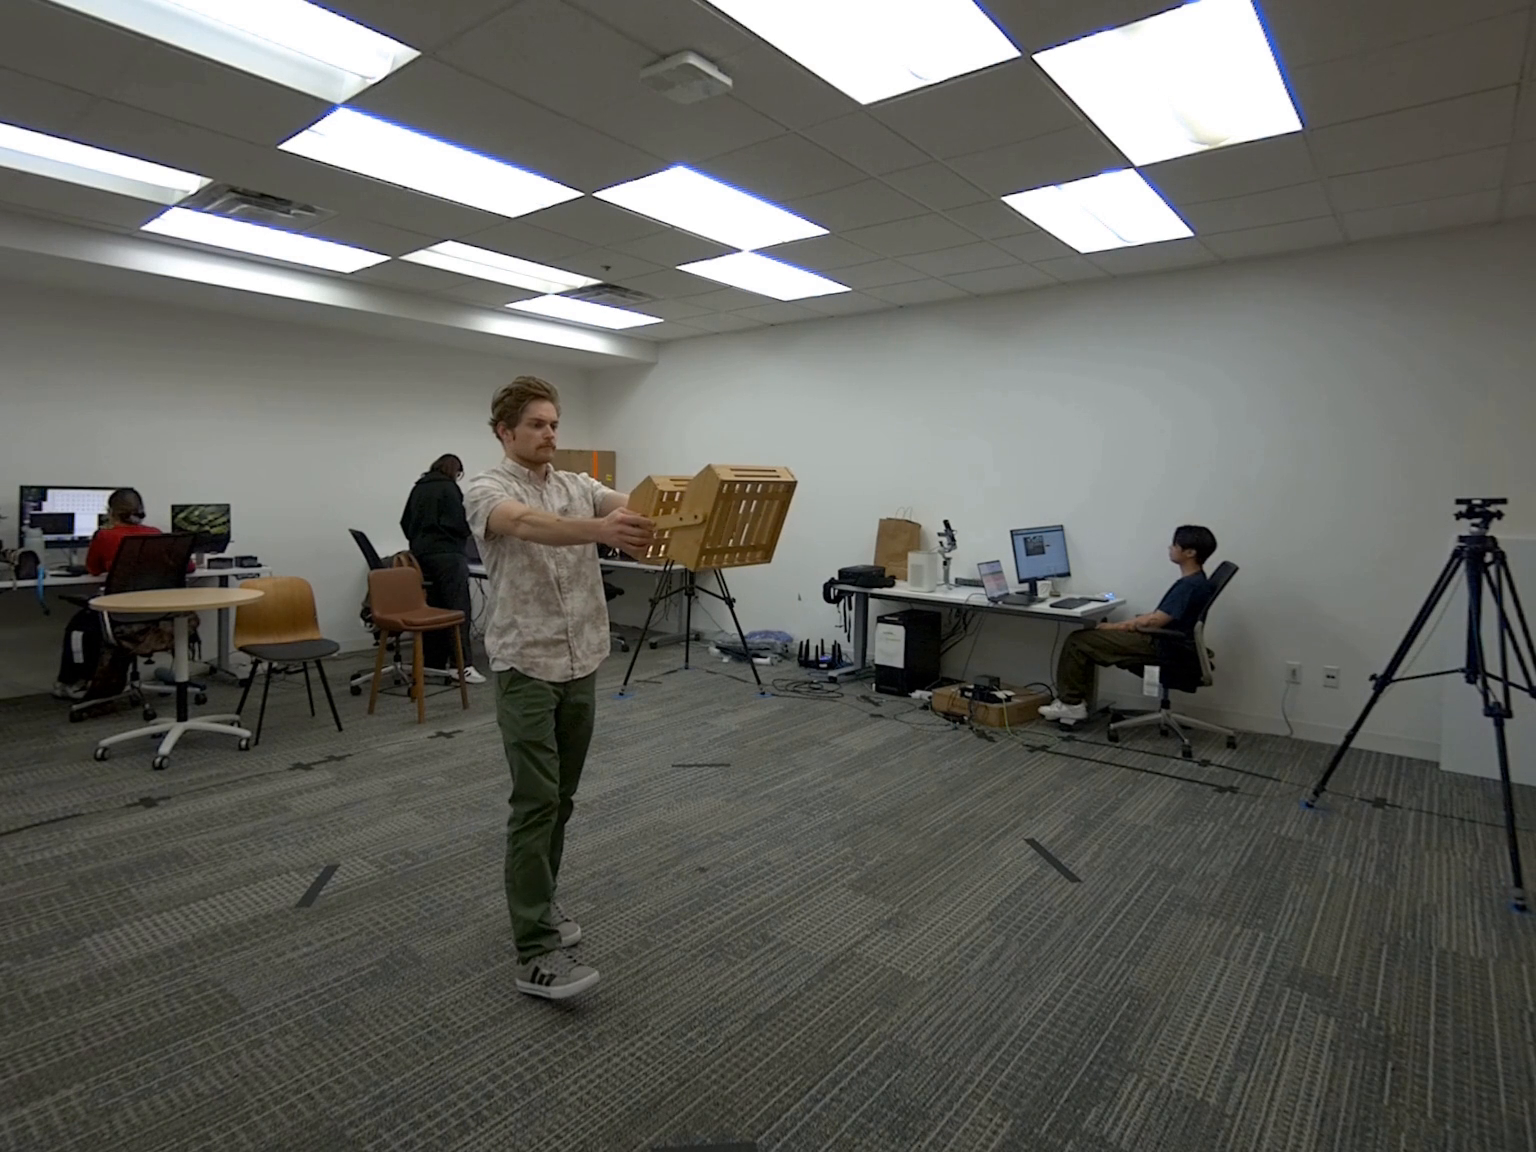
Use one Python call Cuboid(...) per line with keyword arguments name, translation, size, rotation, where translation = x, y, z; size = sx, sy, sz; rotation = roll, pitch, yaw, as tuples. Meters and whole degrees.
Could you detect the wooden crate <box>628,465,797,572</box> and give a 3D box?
Cuboid(name="wooden crate", translation=(-0.162, -0.171, 2.134), size=(0.284, 0.299, 0.315), rotation=(30, 21, 34))
